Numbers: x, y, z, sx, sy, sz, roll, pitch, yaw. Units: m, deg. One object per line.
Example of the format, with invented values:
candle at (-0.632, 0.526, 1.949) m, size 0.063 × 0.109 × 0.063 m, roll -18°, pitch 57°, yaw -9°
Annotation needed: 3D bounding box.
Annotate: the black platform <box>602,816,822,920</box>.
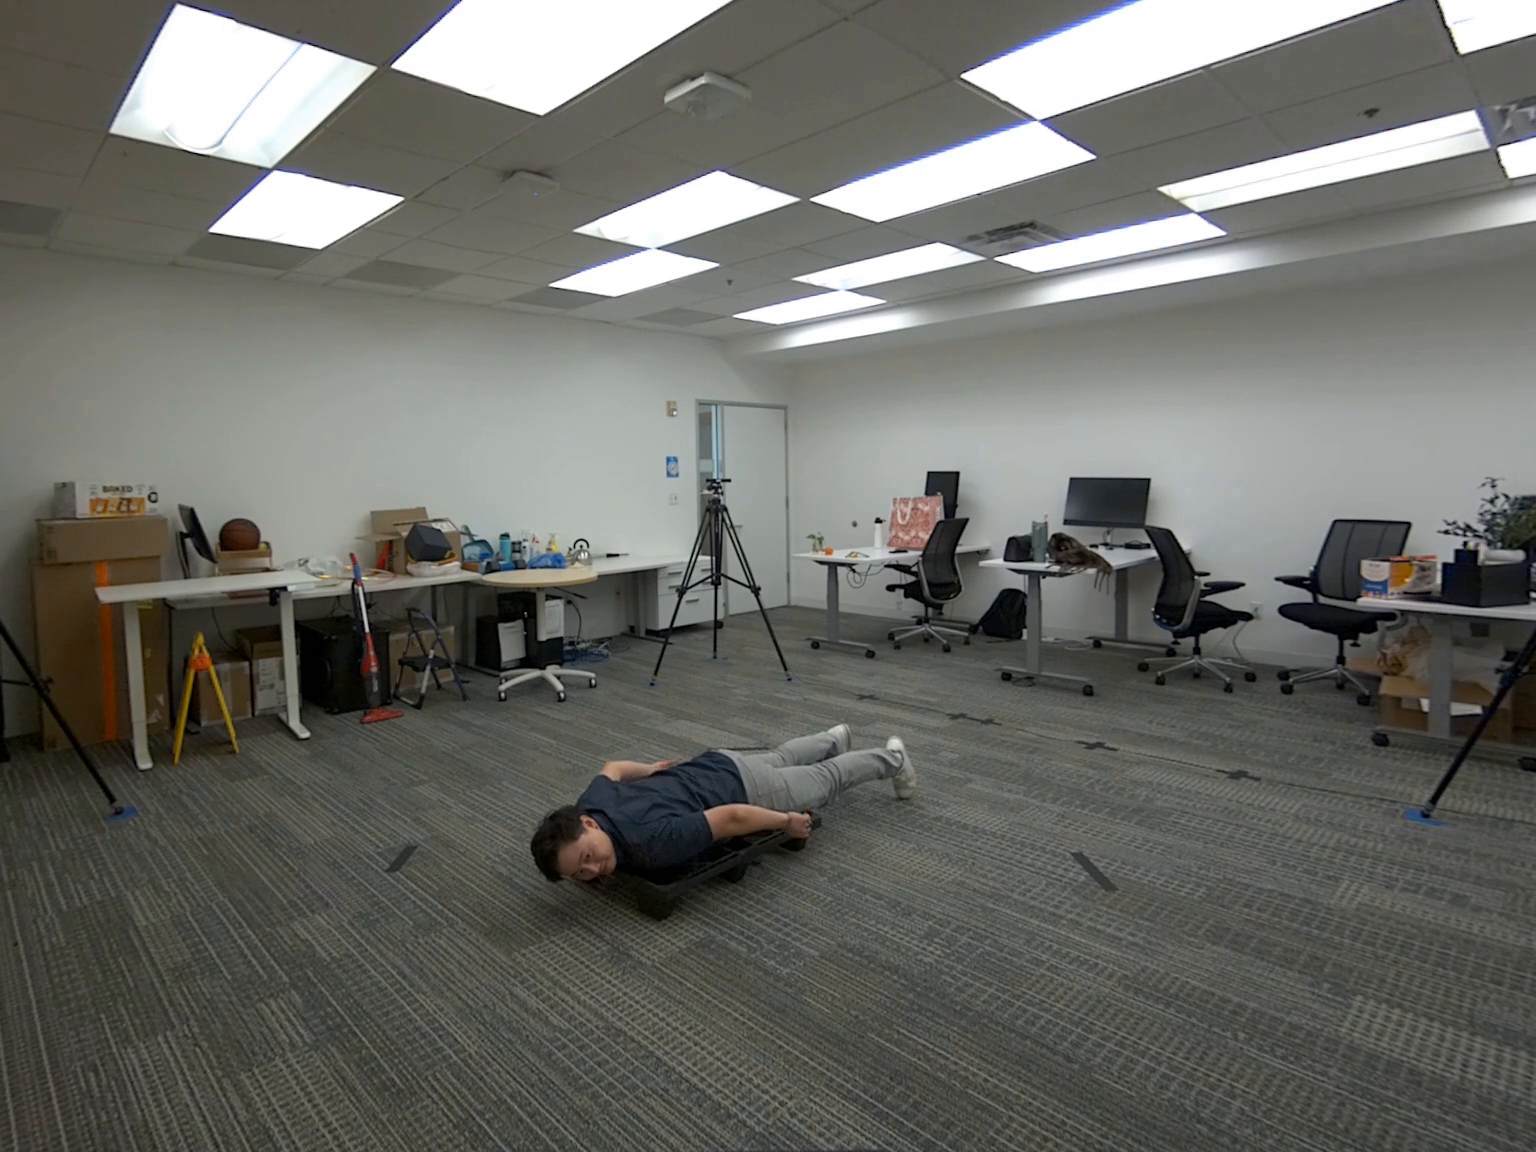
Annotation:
black platform at (-0.280, 0.989, 3.136) m, size 0.624 × 0.142 × 0.784 m, roll 7°, pitch 10°, yaw 42°
